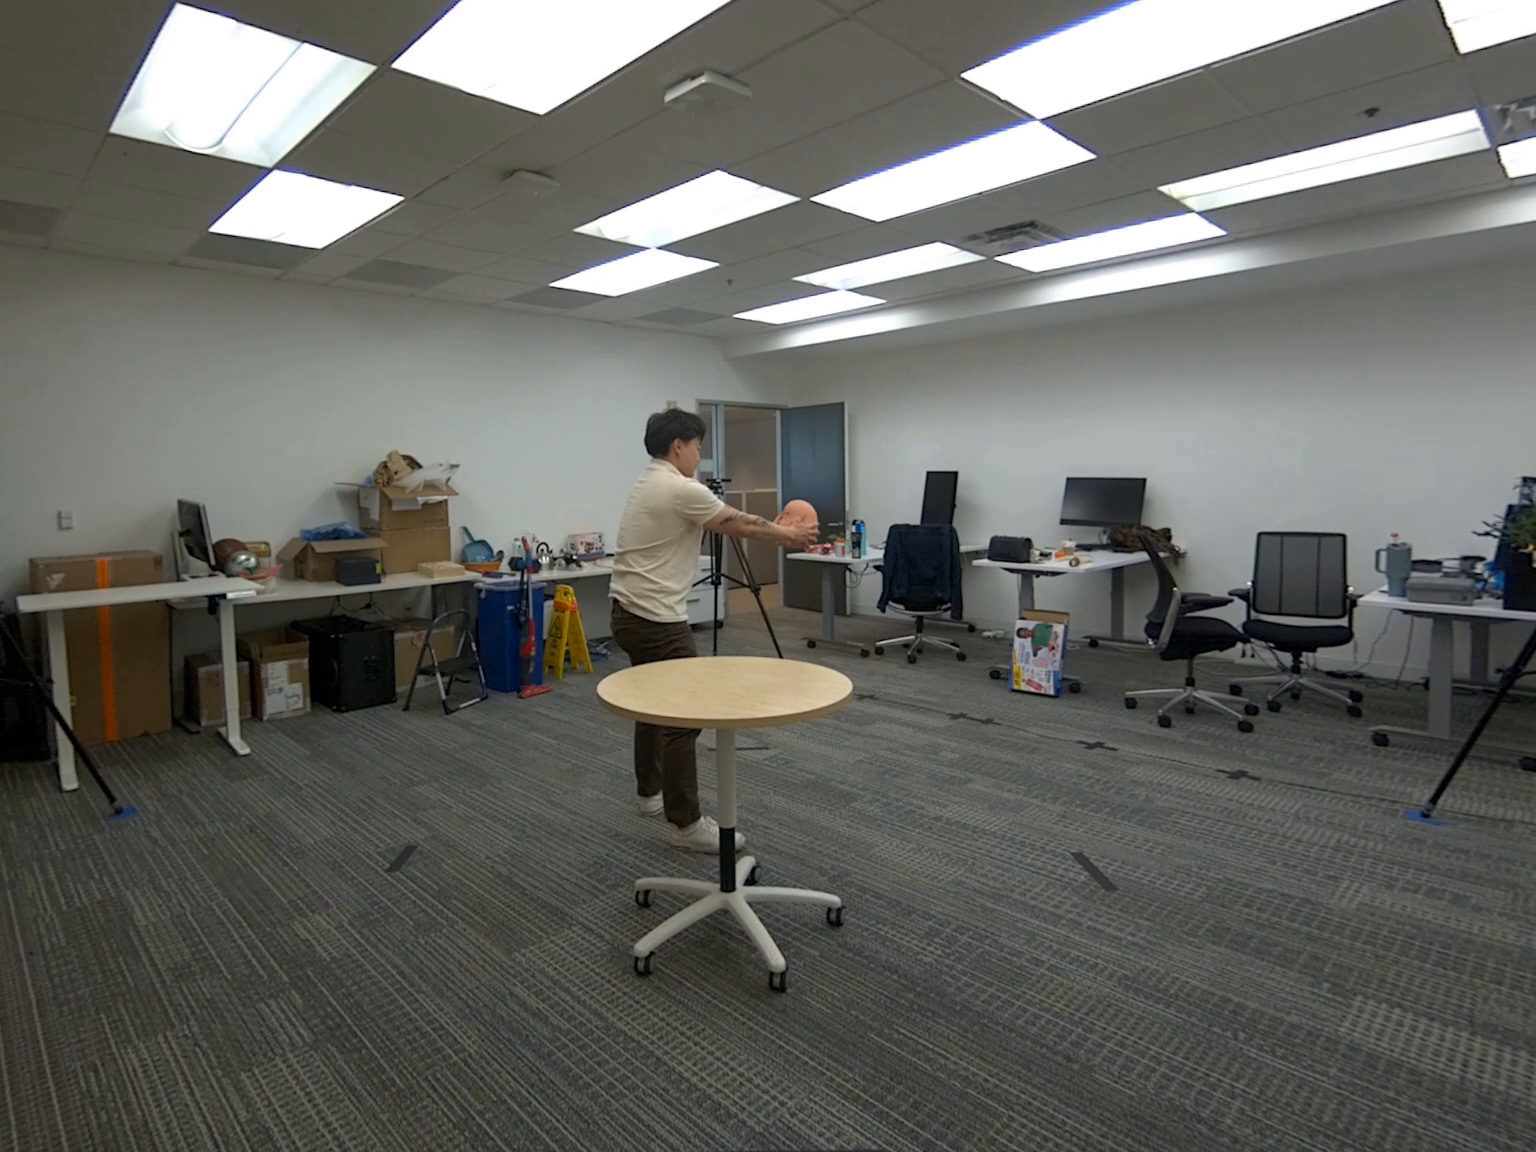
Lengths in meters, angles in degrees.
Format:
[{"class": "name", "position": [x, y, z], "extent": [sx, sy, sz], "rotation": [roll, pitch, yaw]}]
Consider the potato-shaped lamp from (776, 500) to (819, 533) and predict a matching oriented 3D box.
[{"class": "potato-shaped lamp", "position": [0.118, -0.213, 3.594], "extent": [0.169, 0.197, 0.167], "rotation": [3, 4, -15]}]
